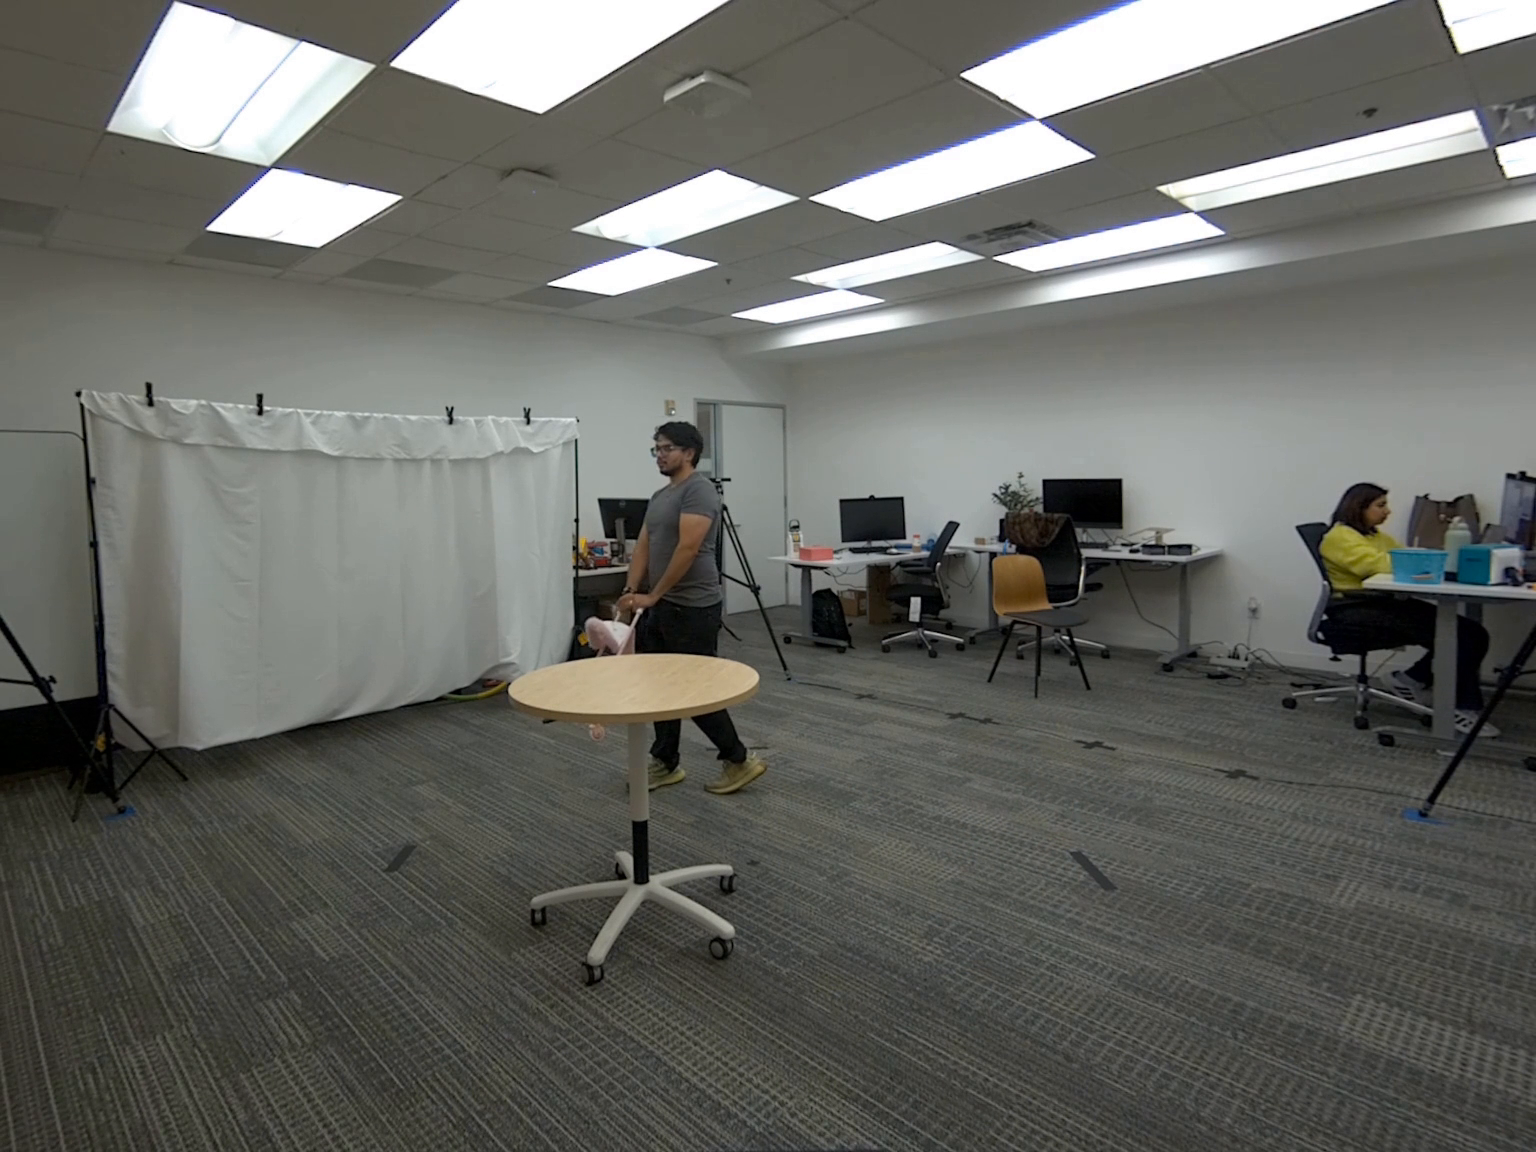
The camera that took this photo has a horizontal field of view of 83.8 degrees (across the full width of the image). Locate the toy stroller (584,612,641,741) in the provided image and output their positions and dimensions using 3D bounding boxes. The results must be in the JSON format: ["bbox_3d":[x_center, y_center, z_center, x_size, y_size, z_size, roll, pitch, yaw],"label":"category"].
[{"bbox_3d":[-0.651,0.404,3.625,0.334,0.534,0.287,-11,1,-31],"label":"toy stroller"}]
